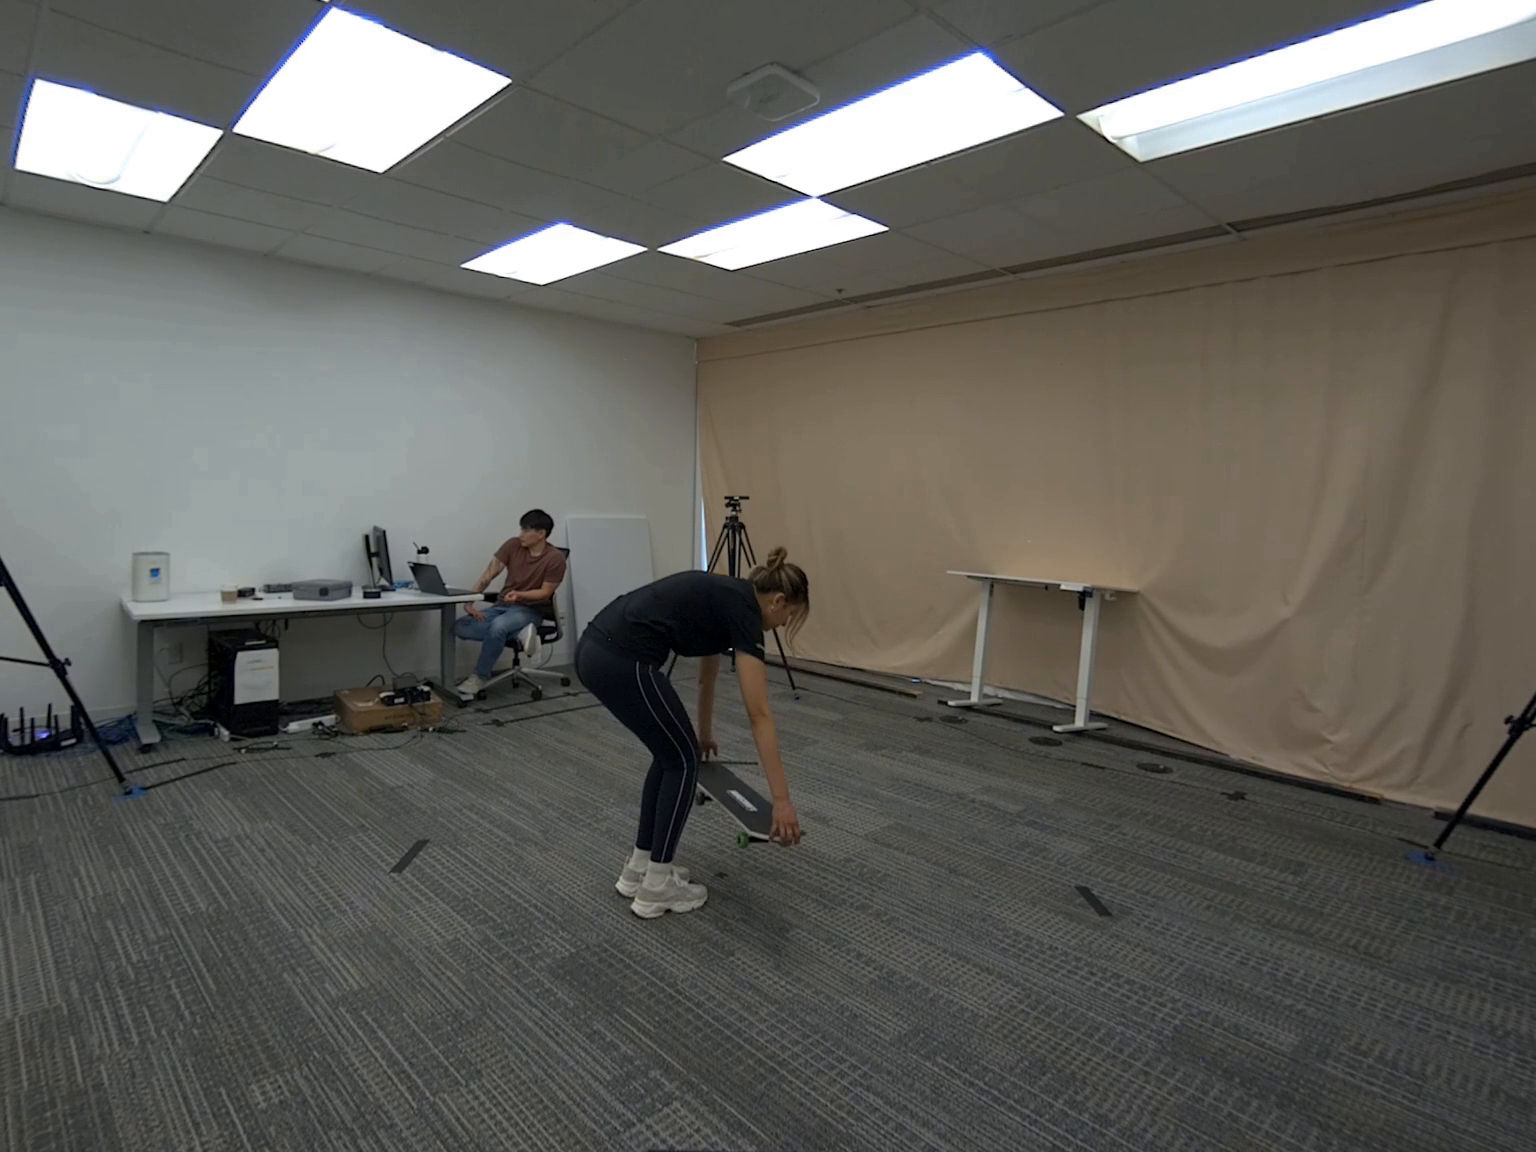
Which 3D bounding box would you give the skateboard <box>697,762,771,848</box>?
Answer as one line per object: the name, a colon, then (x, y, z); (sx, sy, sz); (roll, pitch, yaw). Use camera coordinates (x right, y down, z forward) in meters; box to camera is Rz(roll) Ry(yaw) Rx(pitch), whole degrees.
skateboard: (-0.100, 0.833, 3.005); (0.190, 0.110, 0.801); (4, 4, -24)
